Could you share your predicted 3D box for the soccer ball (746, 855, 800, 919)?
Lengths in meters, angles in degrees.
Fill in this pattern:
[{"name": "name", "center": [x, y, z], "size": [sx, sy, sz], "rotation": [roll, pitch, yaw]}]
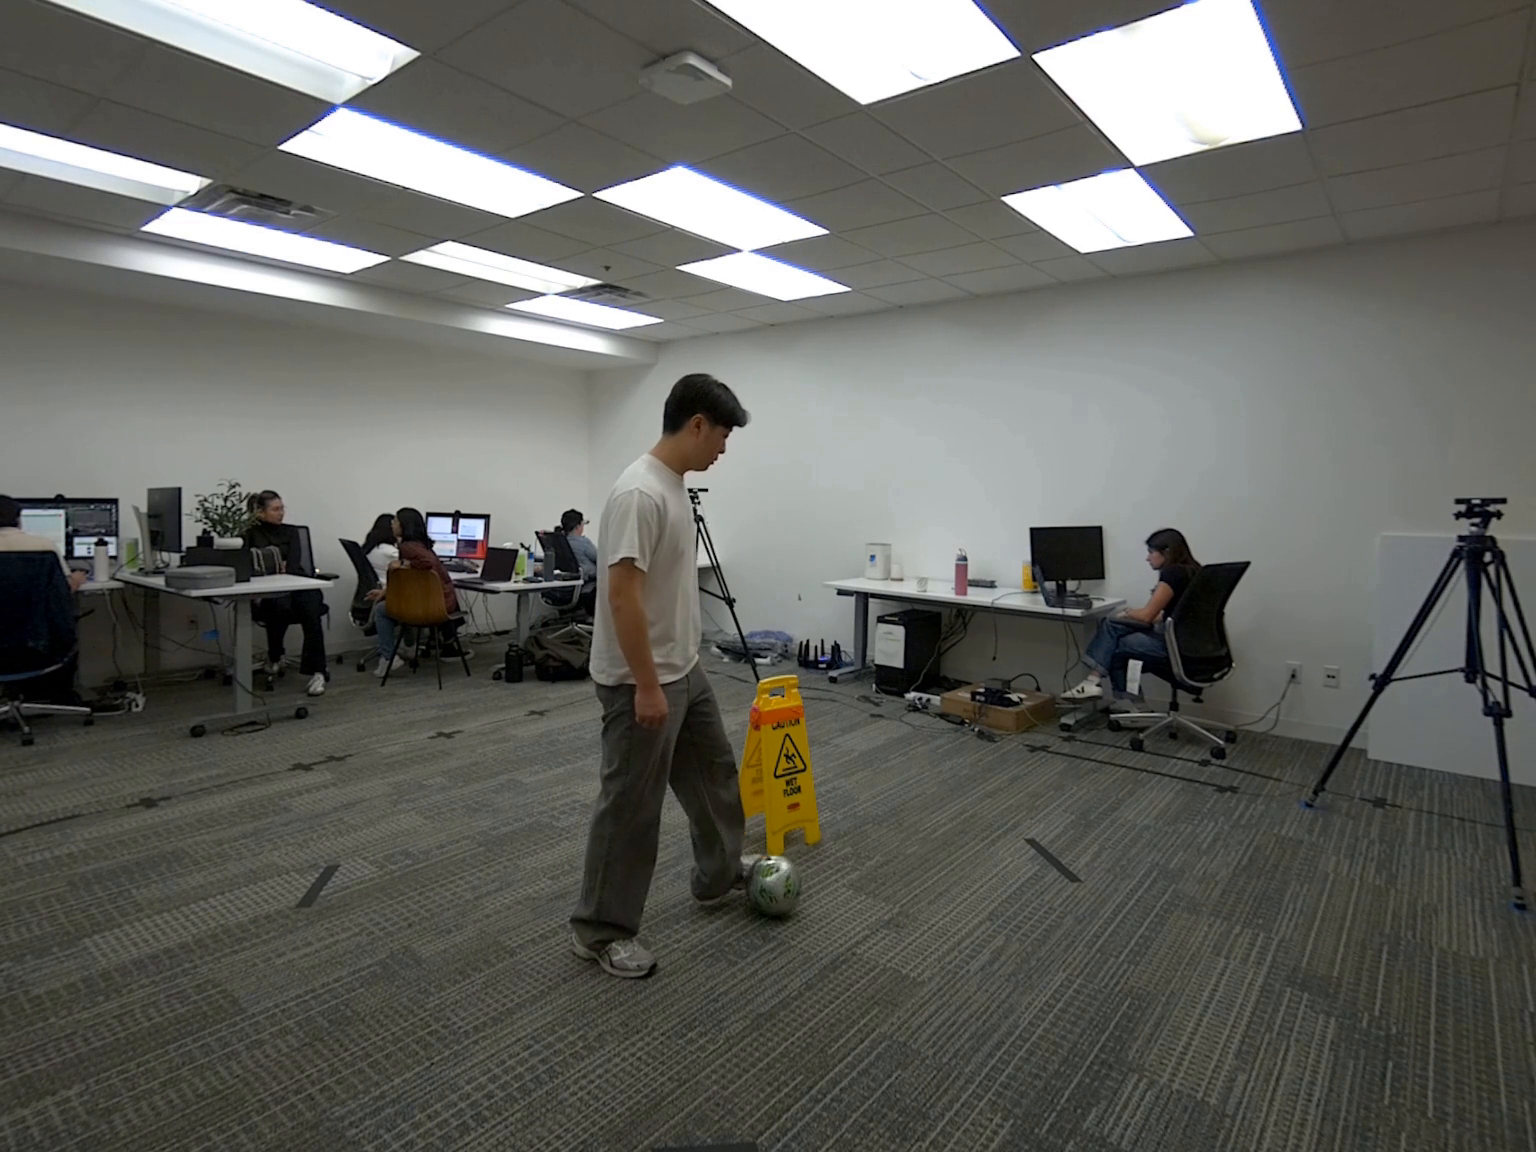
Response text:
[{"name": "soccer ball", "center": [0.016, 1.019, 2.783], "size": [0.187, 0.187, 0.188], "rotation": [1, 4, -2]}]
